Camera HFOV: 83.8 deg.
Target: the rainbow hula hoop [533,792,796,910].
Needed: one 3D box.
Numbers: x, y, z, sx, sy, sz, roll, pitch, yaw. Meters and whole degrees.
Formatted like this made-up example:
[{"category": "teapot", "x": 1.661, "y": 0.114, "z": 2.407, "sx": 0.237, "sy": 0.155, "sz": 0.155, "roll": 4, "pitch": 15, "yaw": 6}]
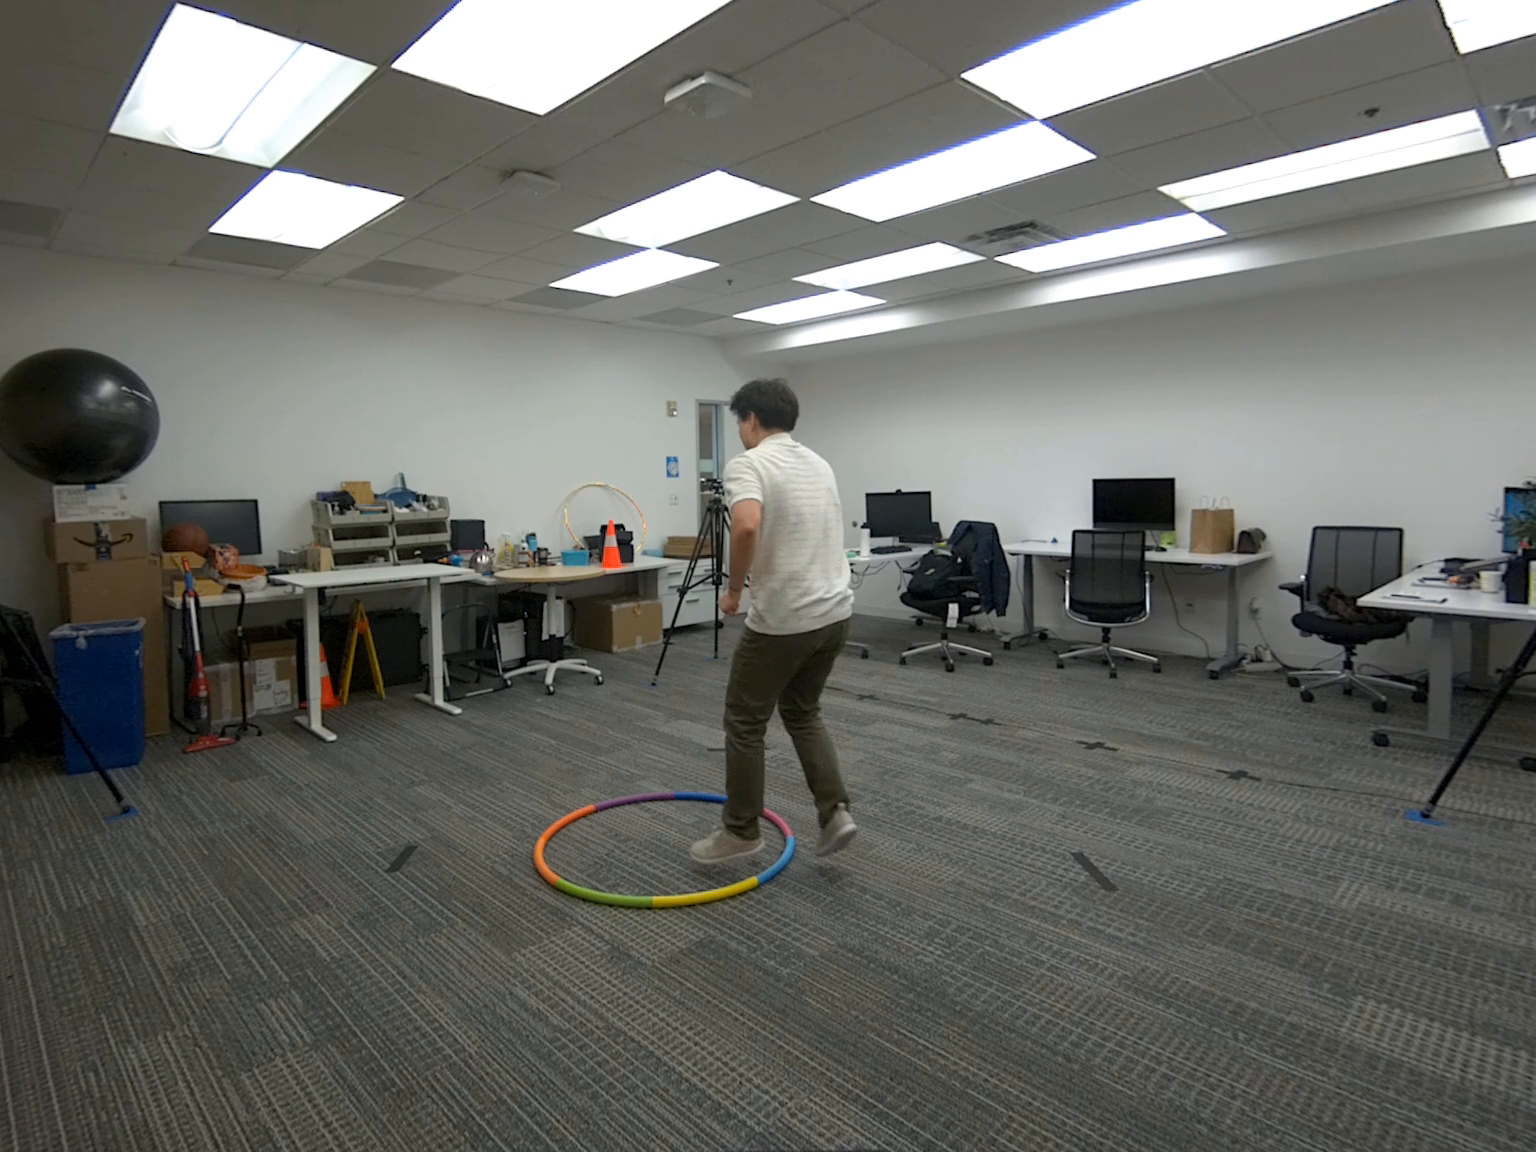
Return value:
[{"category": "rainbow hula hoop", "x": -0.385, "y": 1.002, "z": 3.273, "sx": 0.978, "sy": 0.035, "sz": 0.984, "roll": -1, "pitch": 6, "yaw": -2}]
